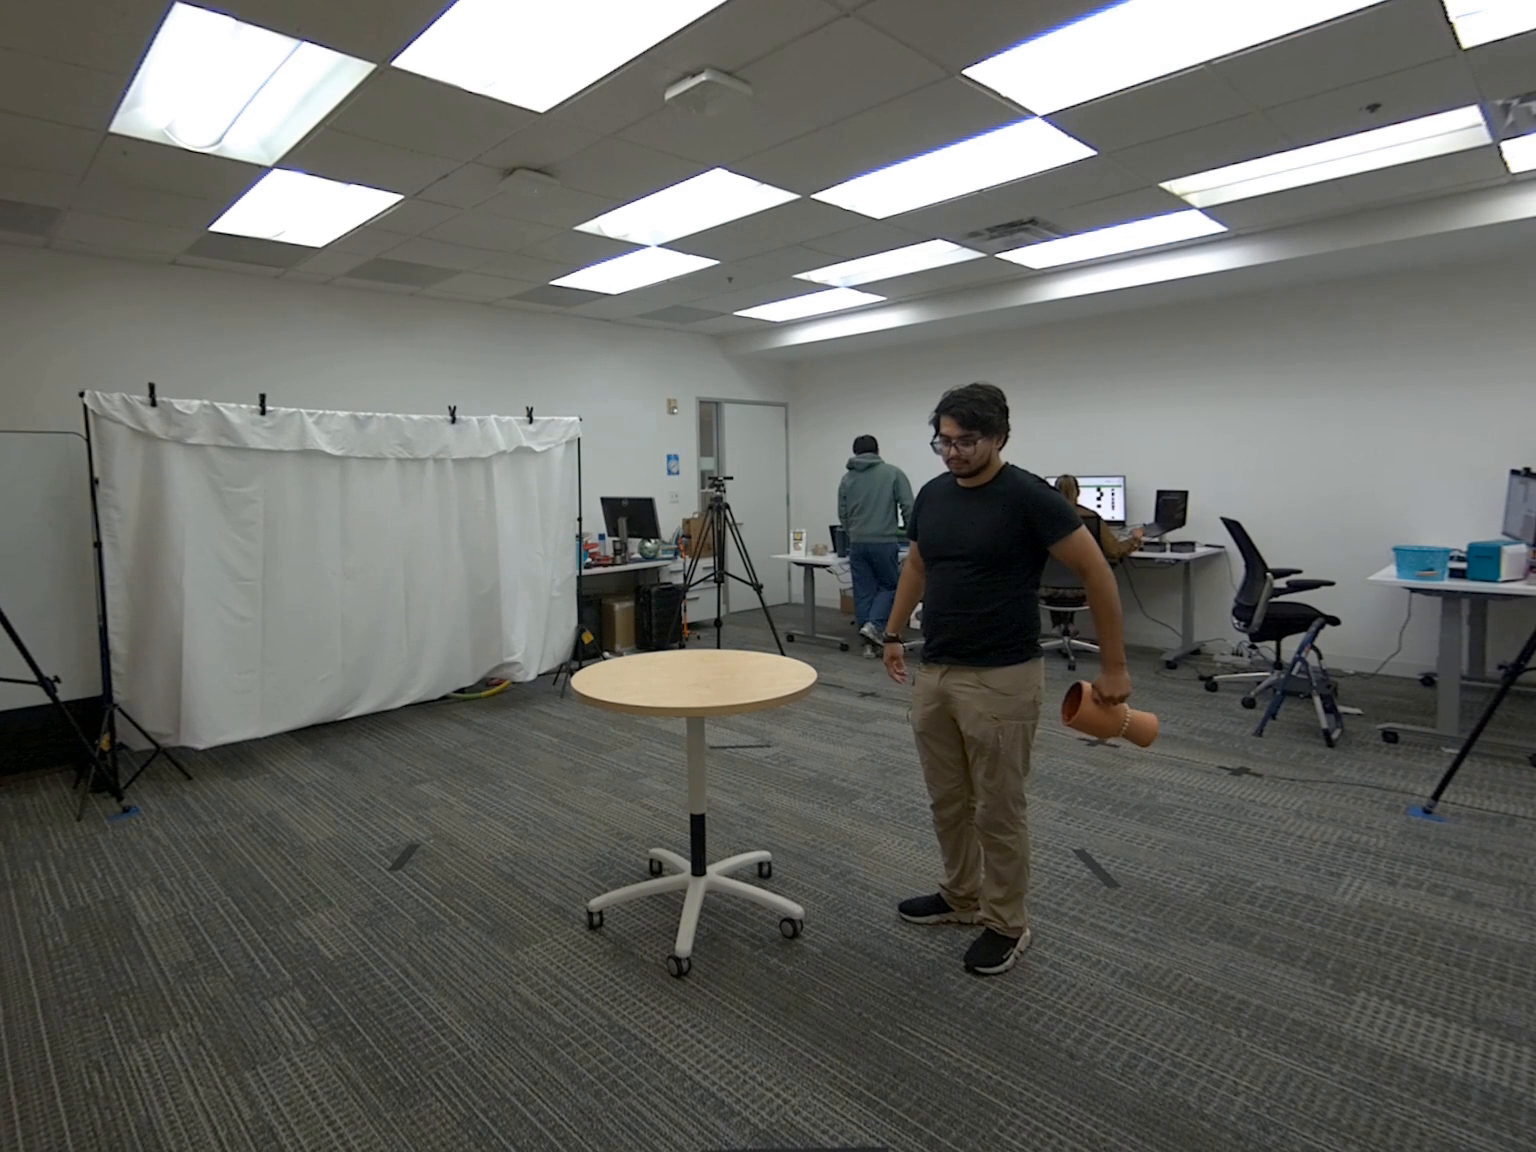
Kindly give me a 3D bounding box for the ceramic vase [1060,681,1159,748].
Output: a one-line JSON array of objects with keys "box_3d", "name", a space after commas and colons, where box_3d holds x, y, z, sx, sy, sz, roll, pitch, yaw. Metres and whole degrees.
[{"box_3d": [0.932, 0.384, 2.335, 0.220, 0.134, 0.159, 20, 6, 2], "name": "ceramic vase"}]
